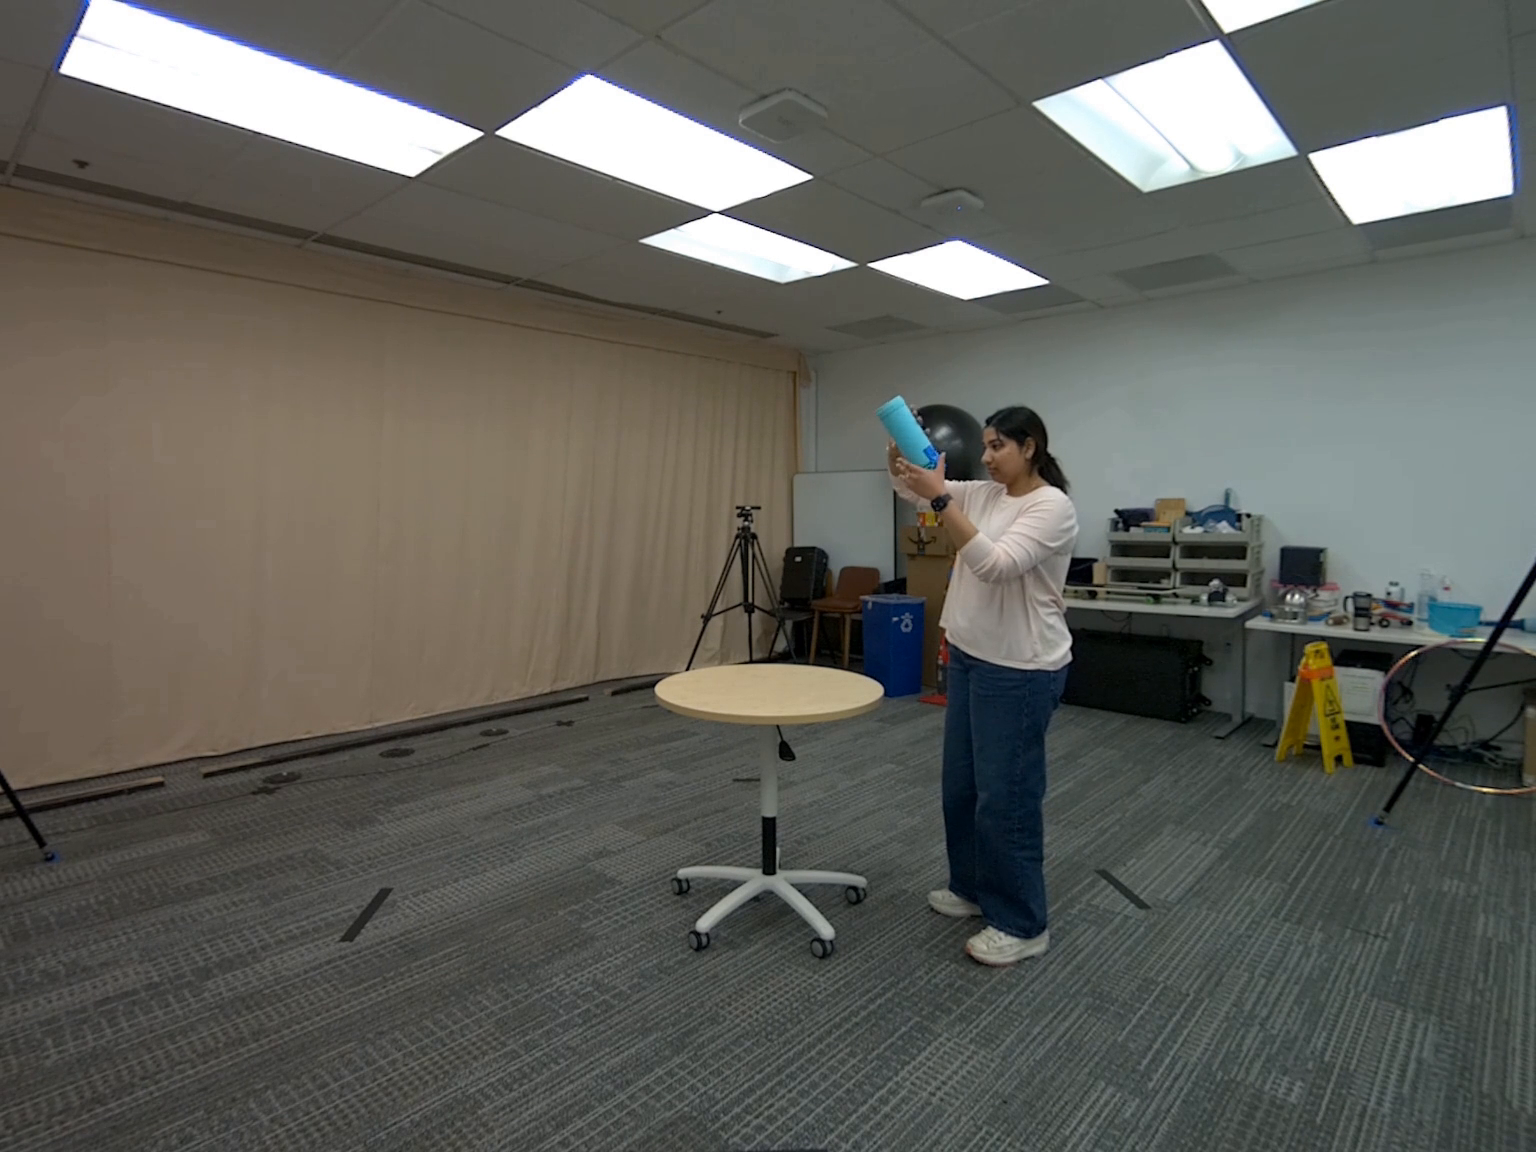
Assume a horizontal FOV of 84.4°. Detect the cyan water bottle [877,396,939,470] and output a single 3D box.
[{"bbox_3d":[0.438,-0.387,2.560,0.092,0.284,0.092,-31,-2,-2],"label":"cyan water bottle"}]
